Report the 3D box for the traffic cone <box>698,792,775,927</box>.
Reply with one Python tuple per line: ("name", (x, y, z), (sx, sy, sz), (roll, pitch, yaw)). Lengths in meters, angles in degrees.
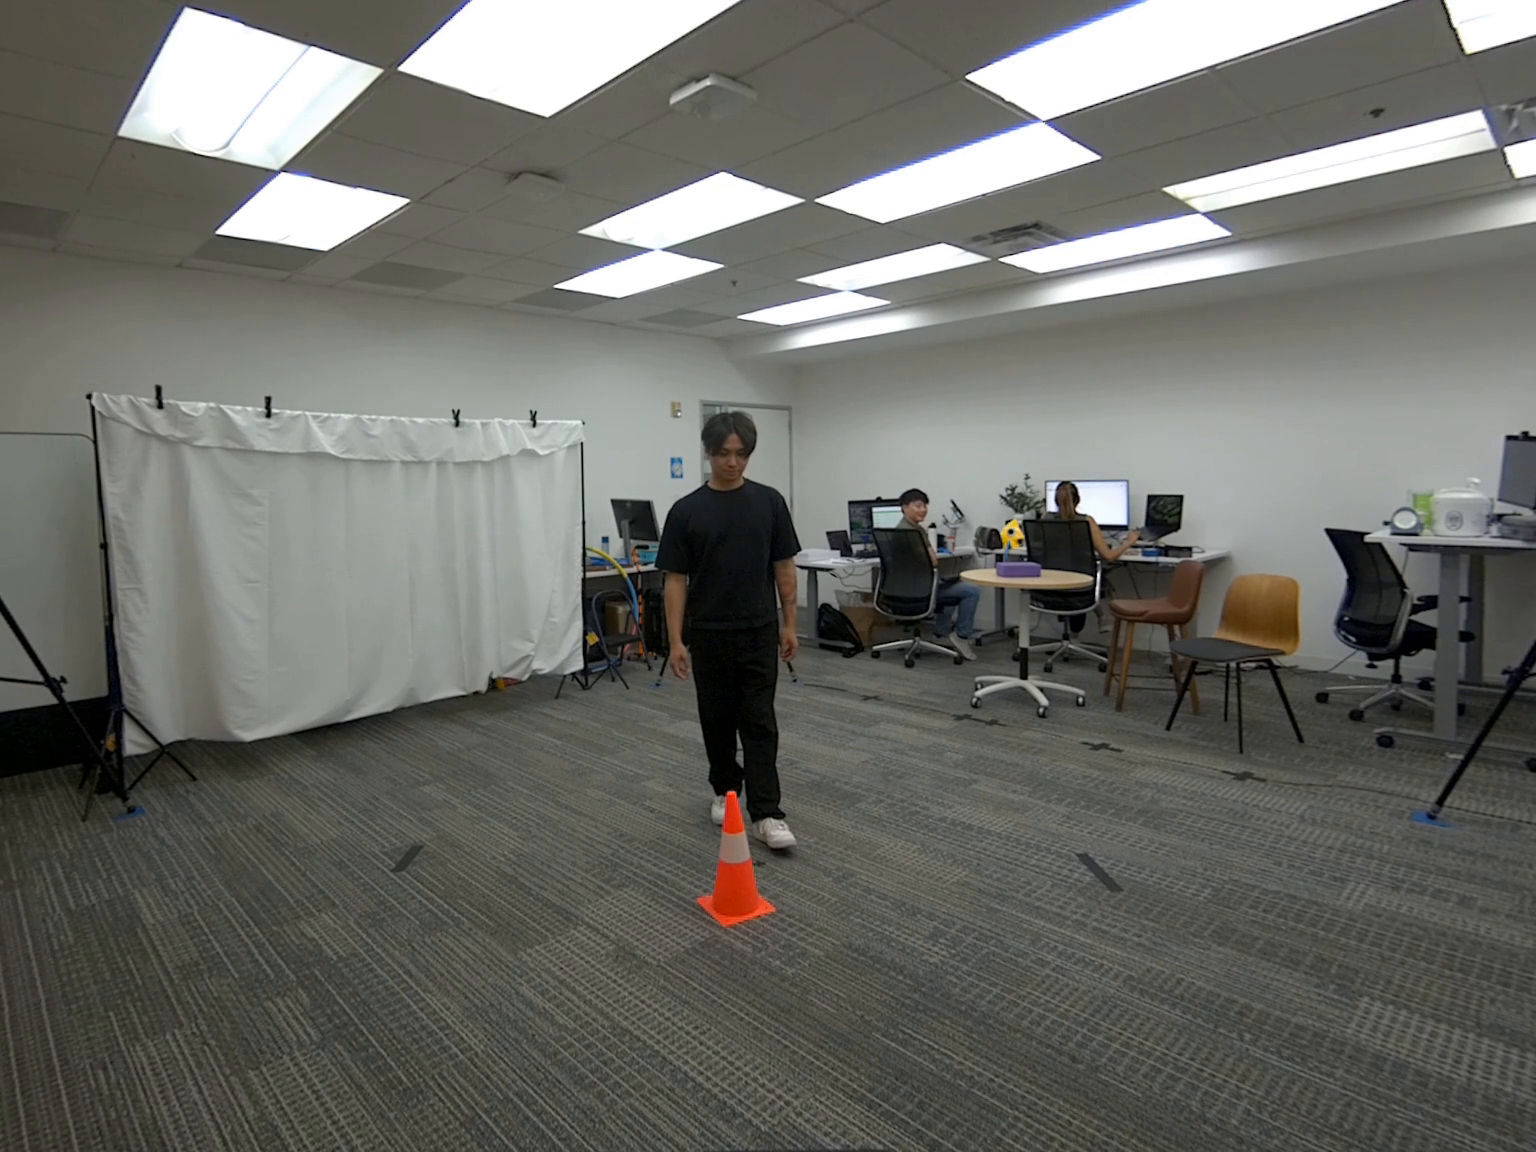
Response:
("traffic cone", (-0.115, 0.908, 2.797), (0.200, 0.382, 0.209), (-6, 5, -30))
